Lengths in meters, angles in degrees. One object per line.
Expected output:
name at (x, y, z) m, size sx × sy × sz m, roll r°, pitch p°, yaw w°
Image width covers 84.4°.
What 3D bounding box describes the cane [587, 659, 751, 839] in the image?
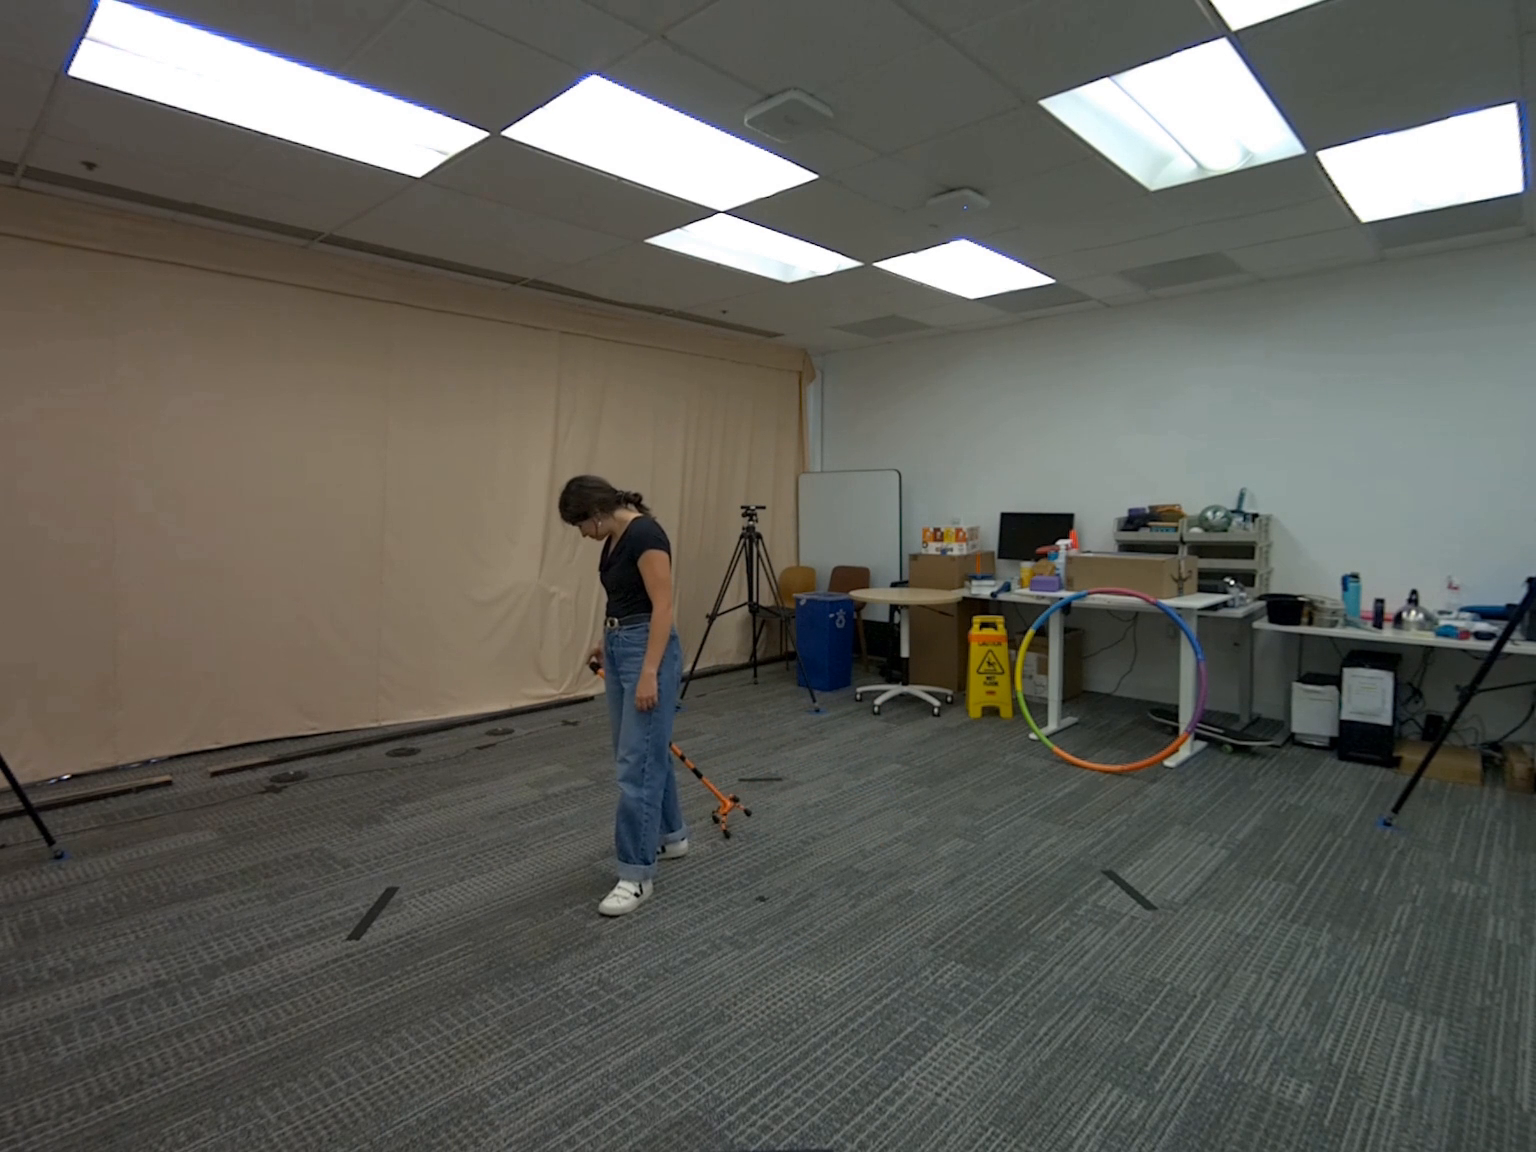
cane at (-0.425, 0.713, 3.541) m, size 0.151 × 0.896 × 0.210 m, roll -43°, pitch 11°, yaw -10°
